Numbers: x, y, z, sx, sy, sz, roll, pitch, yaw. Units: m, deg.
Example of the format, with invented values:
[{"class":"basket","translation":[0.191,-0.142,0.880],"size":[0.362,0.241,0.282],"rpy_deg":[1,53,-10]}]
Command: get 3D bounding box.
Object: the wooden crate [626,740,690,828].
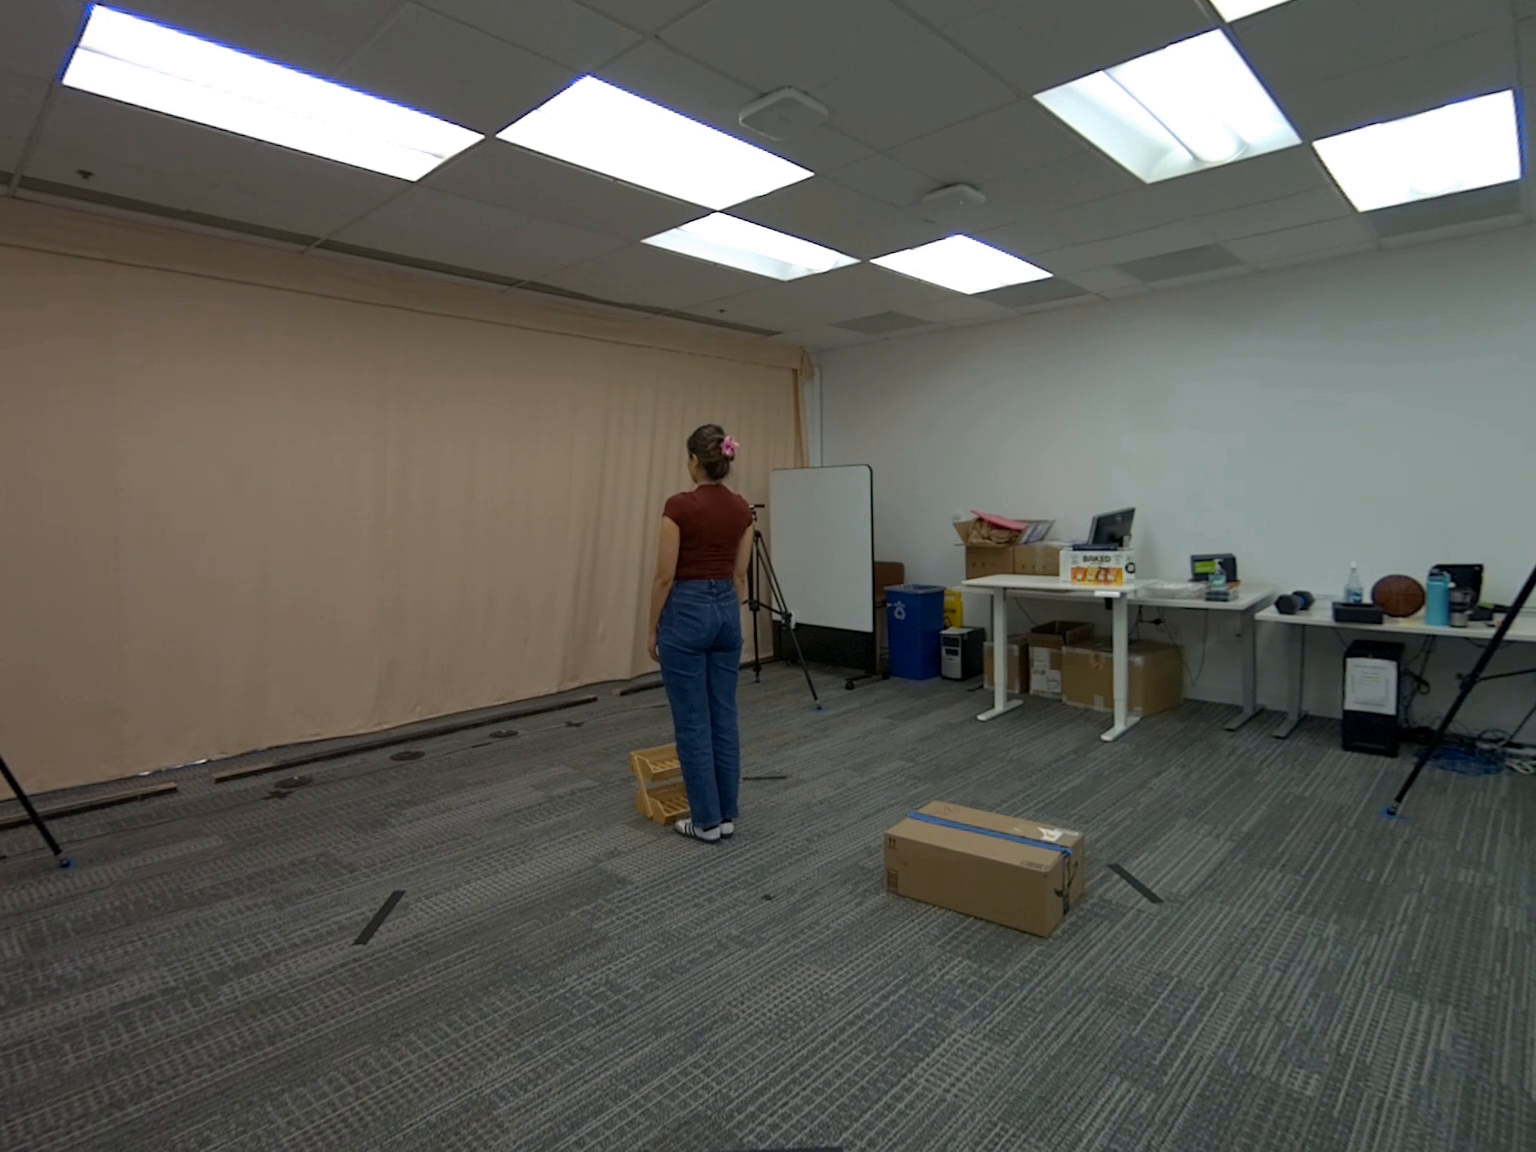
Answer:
[{"class":"wooden crate","translation":[-0.428,0.933,3.871],"size":[0.315,0.273,0.312],"rpy_deg":[-4,4,-39]}]
